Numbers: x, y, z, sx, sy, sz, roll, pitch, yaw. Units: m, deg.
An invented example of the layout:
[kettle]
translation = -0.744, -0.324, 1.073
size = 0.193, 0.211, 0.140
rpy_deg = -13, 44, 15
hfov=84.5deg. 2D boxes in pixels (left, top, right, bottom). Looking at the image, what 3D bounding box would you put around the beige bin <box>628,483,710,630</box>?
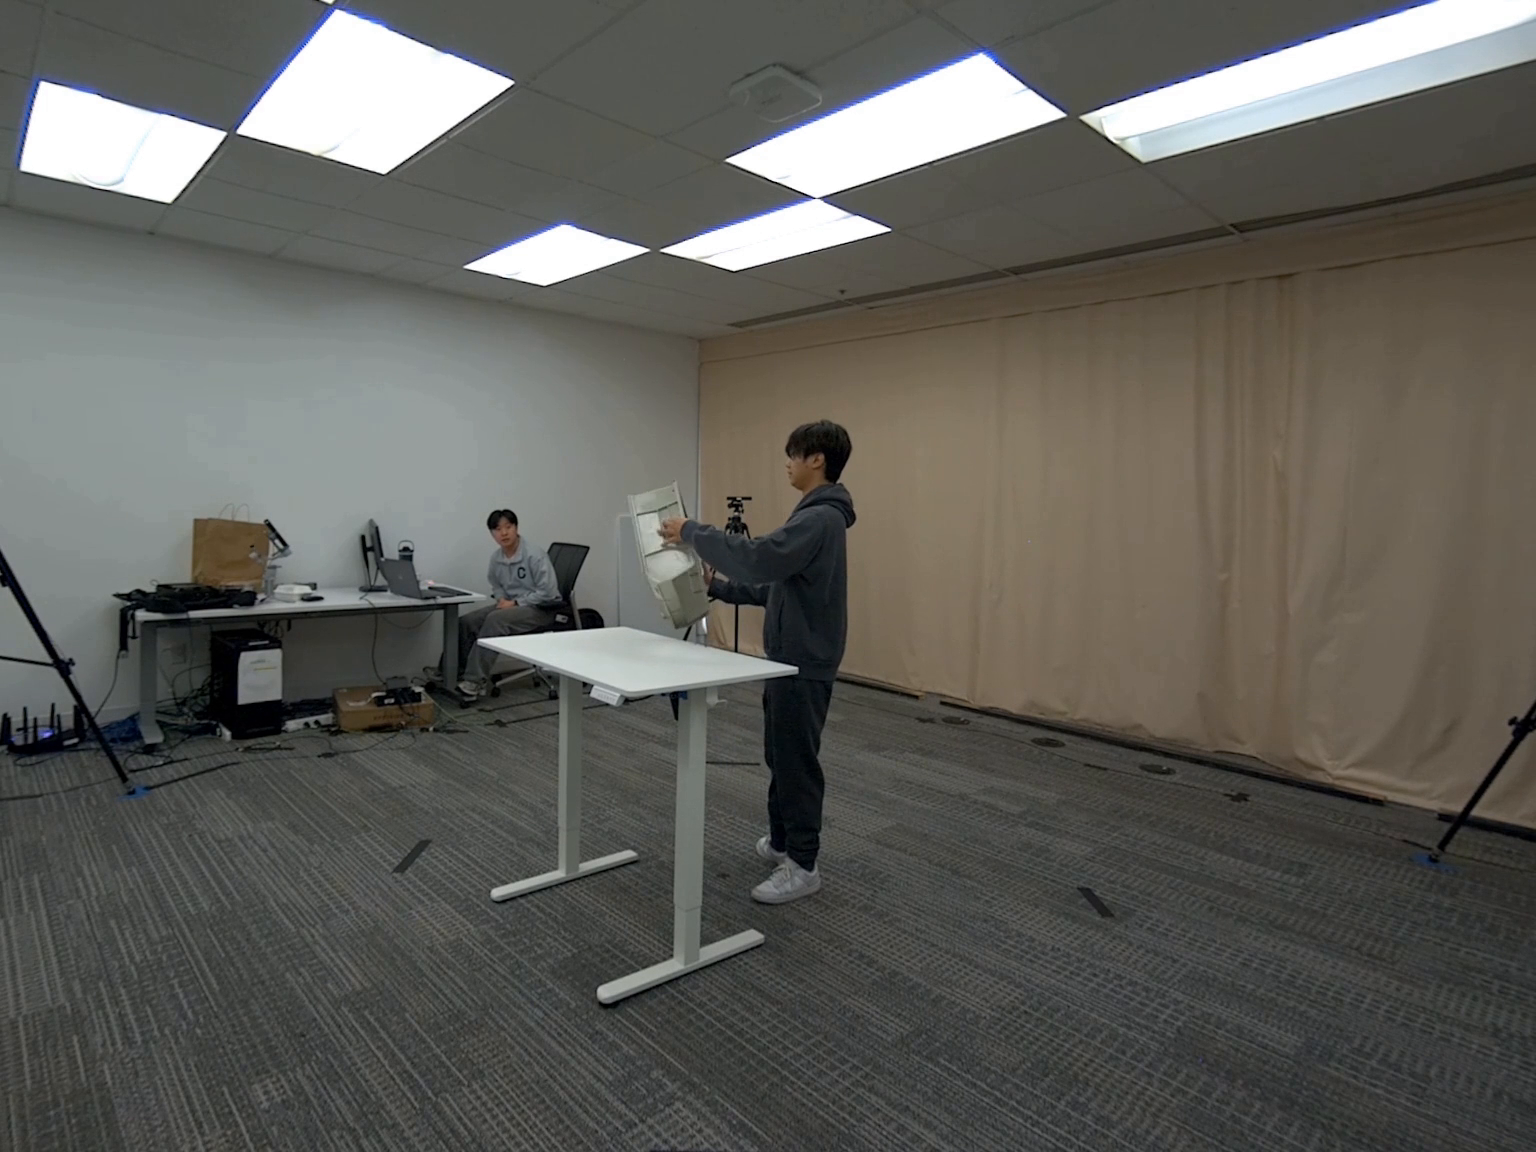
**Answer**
[beige bin]
translation = -0.351, -0.064, 3.045
size = 0.189, 0.386, 0.413
rpy_deg = -14, -26, -1
